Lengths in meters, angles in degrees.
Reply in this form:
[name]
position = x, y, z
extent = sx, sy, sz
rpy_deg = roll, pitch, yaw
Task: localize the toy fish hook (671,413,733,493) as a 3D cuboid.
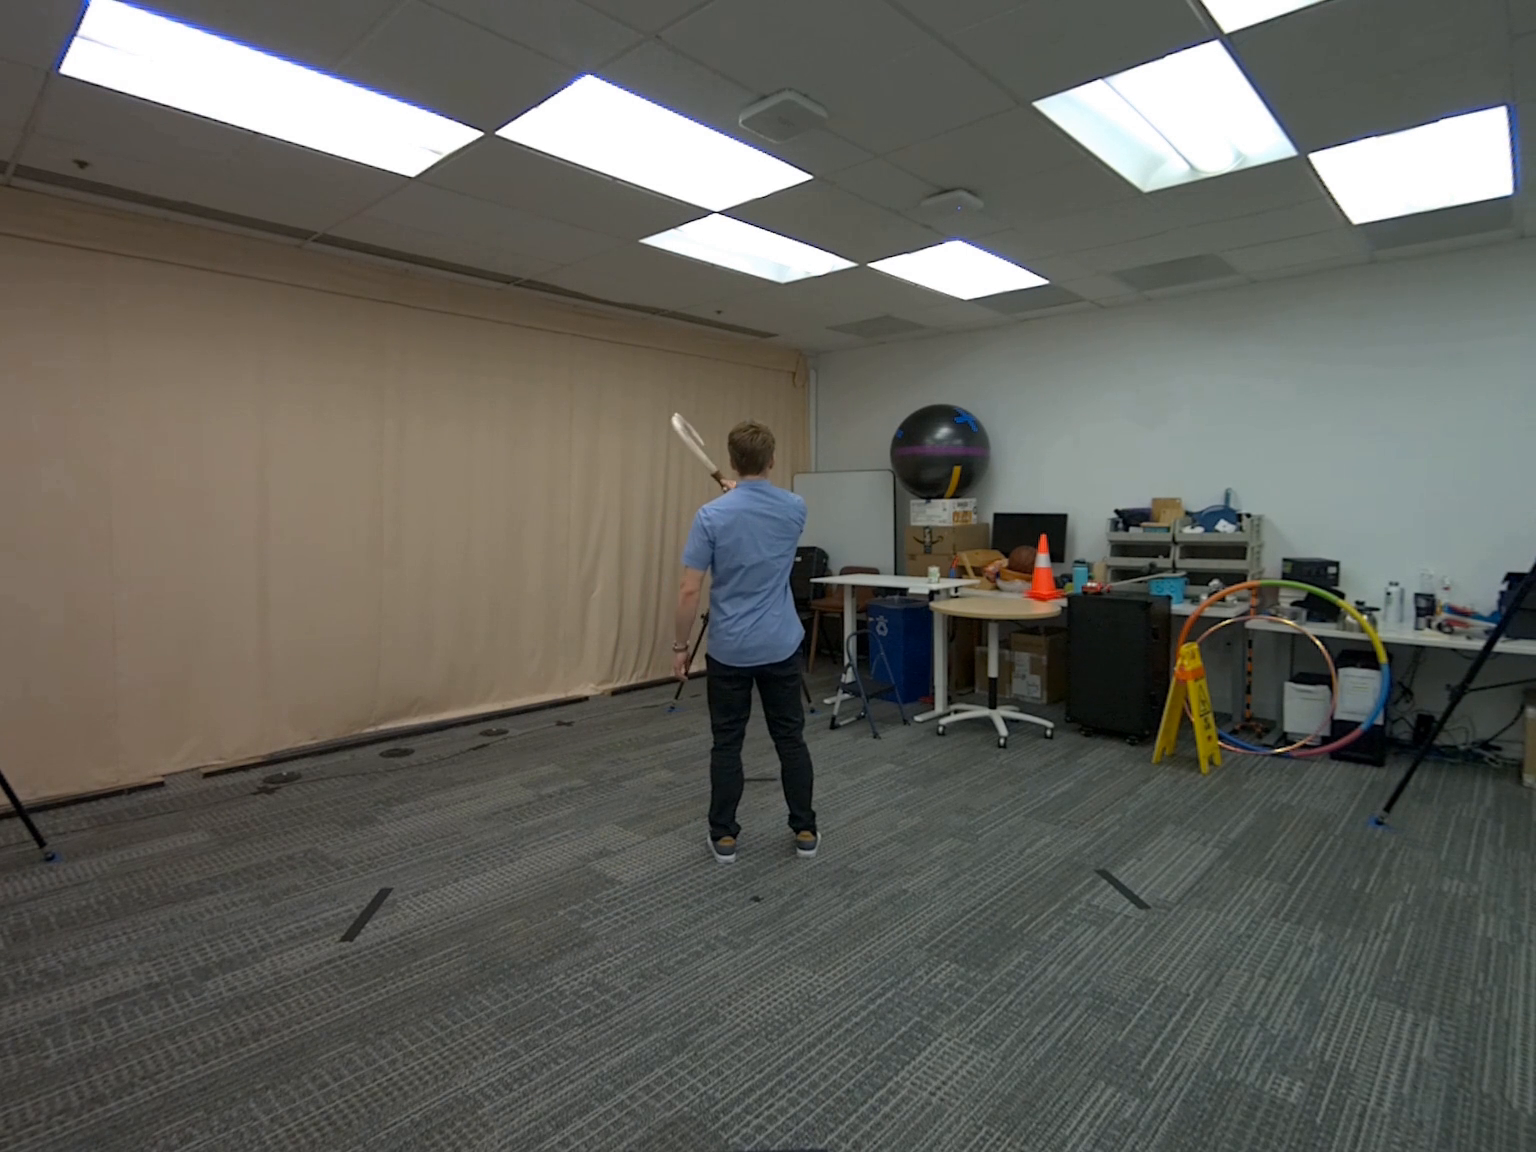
[toy fish hook]
position = -0.252, -0.512, 3.826
extent = 0.049, 0.500, 0.225
rpy_deg = -32, 12, 19
